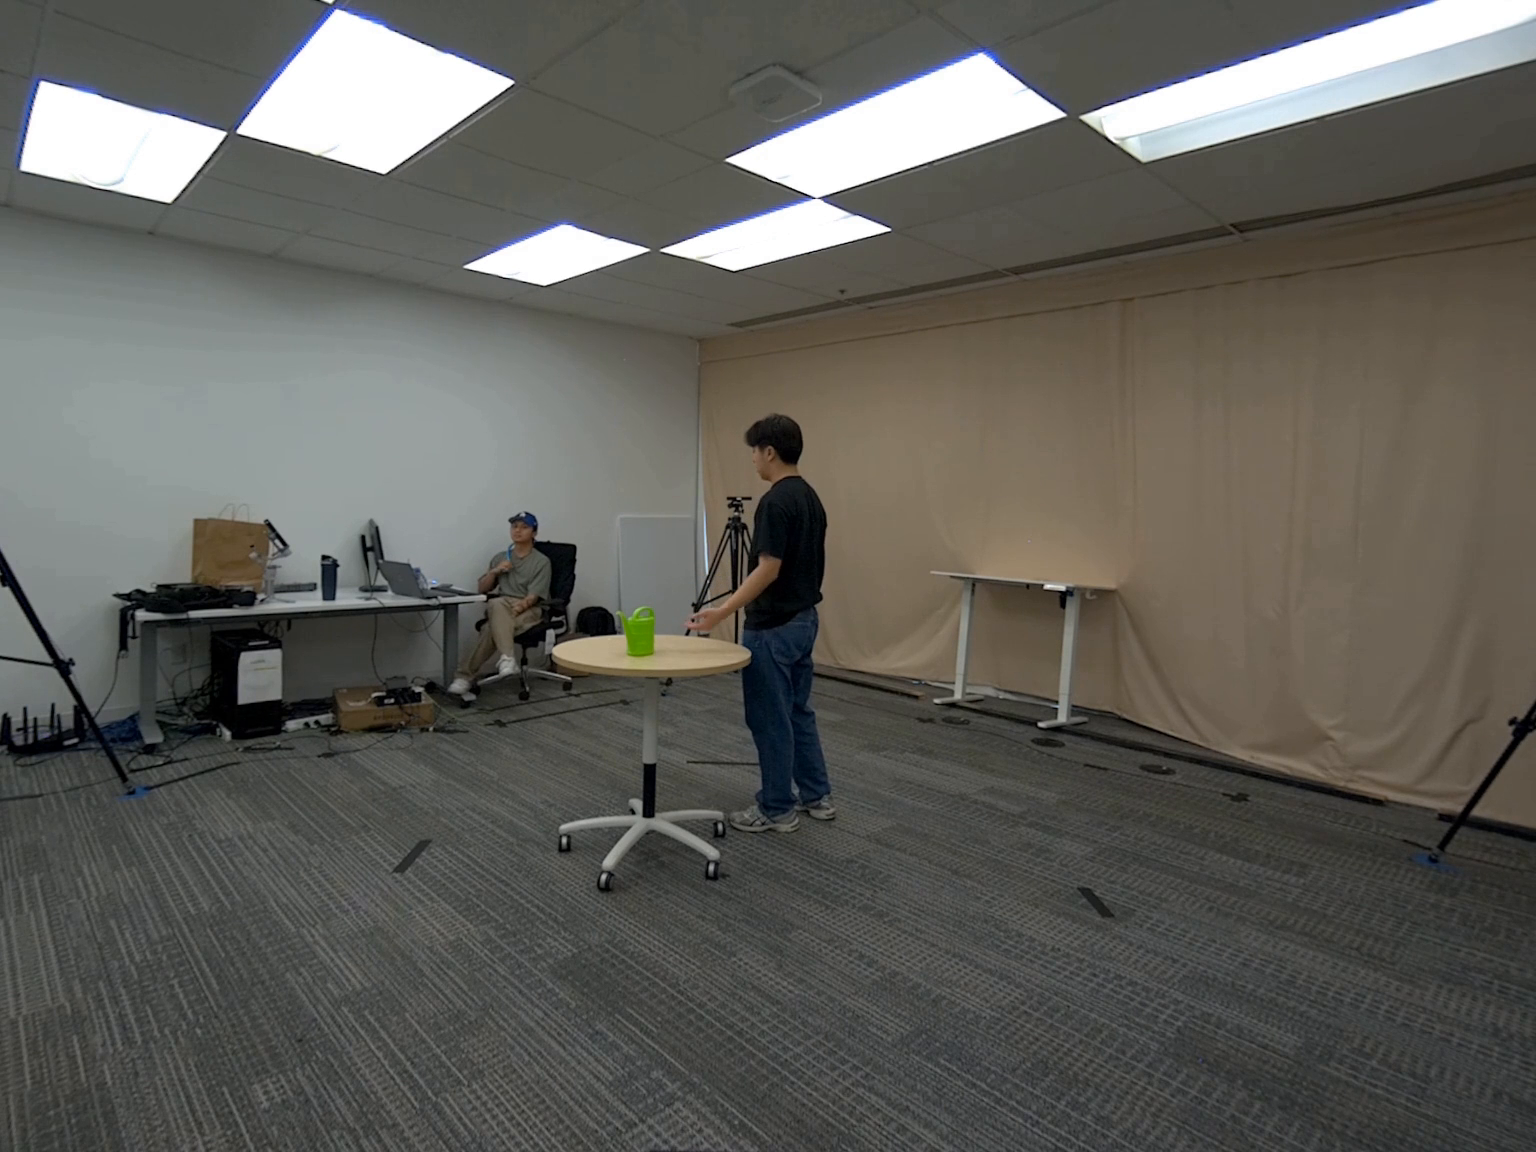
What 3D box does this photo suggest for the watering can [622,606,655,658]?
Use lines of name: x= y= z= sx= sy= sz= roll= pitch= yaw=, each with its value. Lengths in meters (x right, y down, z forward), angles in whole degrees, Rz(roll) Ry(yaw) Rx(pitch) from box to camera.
watering can: x=-0.504 y=0.210 z=3.145 sx=0.100 sy=0.177 sz=0.272 roll=2 pitch=0 yaw=29
